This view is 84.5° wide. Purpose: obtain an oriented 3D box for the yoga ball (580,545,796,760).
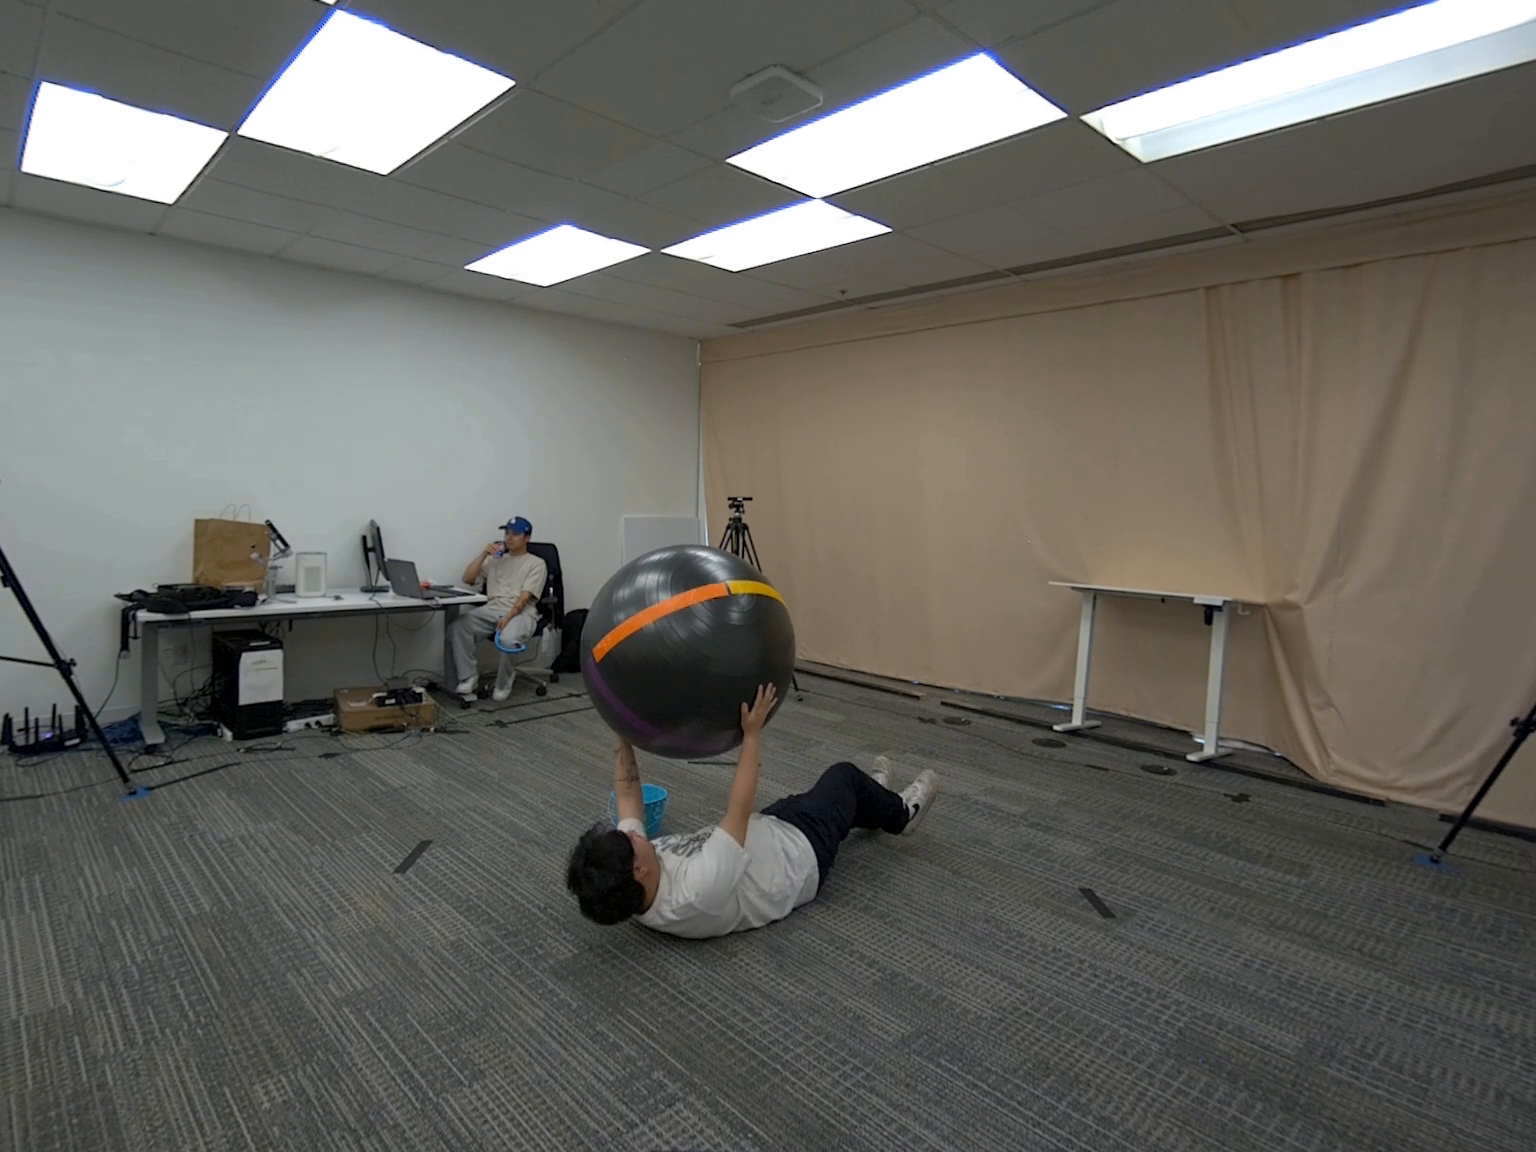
[{"bbox_3d":[-0.286,0.271,2.994,0.757,0.756,0.761,1,4,-1],"label":"yoga ball"}]
